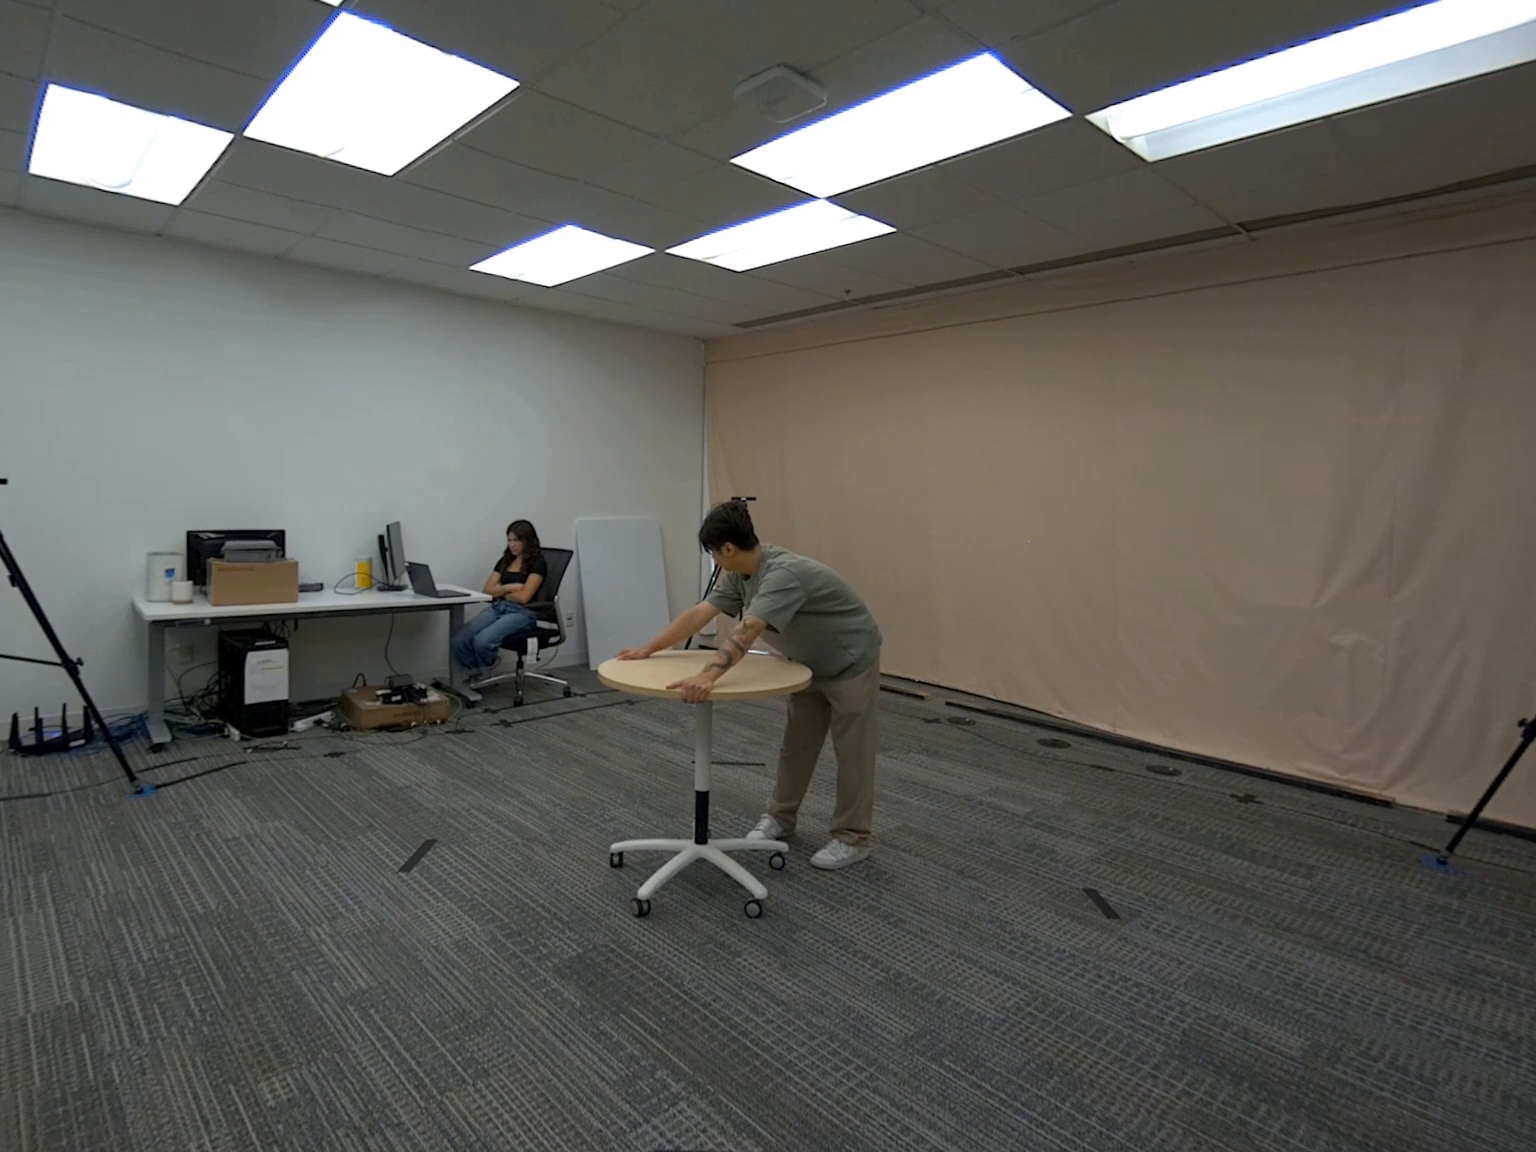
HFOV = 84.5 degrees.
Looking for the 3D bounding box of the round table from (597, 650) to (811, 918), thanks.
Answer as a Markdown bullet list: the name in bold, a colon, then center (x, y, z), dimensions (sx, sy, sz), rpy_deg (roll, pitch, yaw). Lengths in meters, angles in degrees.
- **round table**: center (-0.240, 0.722, 3.030), dimensions (0.784, 0.784, 0.788), rpy_deg (1, 4, -1)
